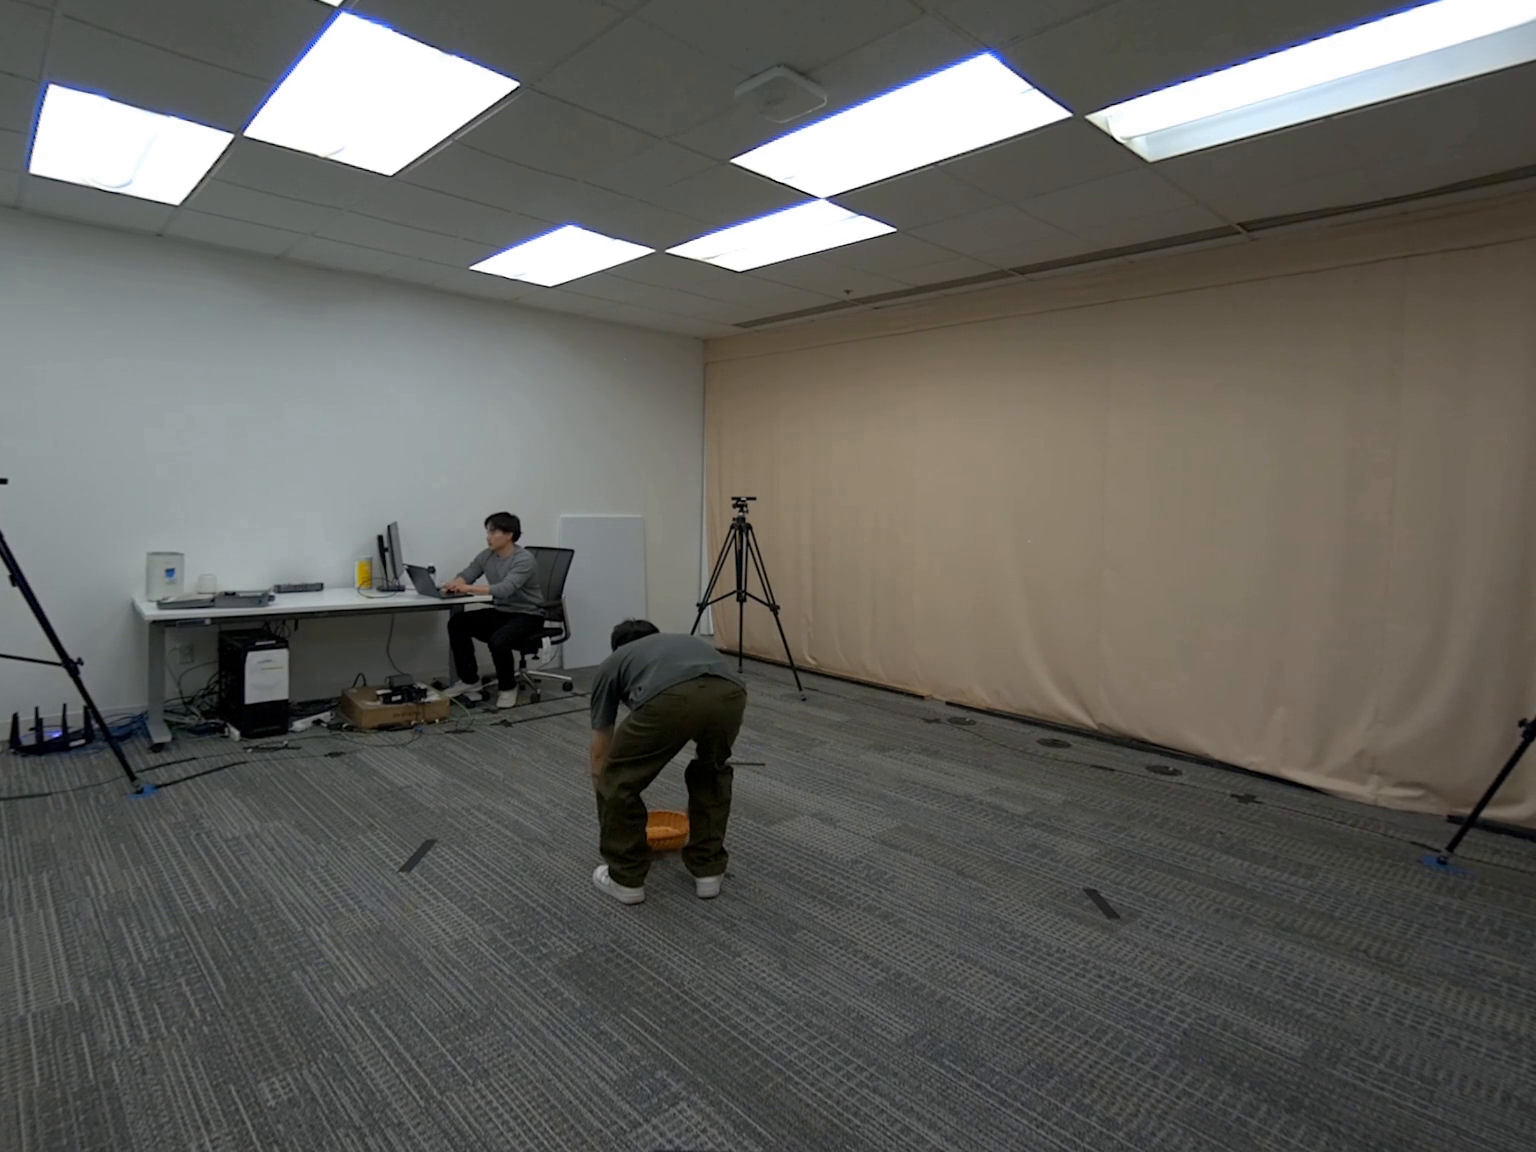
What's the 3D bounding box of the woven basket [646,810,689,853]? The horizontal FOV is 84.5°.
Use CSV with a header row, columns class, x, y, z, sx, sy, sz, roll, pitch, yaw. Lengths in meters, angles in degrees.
class,x,y,z,sx,sy,sz,roll,pitch,yaw
woven basket,-0.469,1.003,3.315,0.346,0.073,0.256,0,7,-16
